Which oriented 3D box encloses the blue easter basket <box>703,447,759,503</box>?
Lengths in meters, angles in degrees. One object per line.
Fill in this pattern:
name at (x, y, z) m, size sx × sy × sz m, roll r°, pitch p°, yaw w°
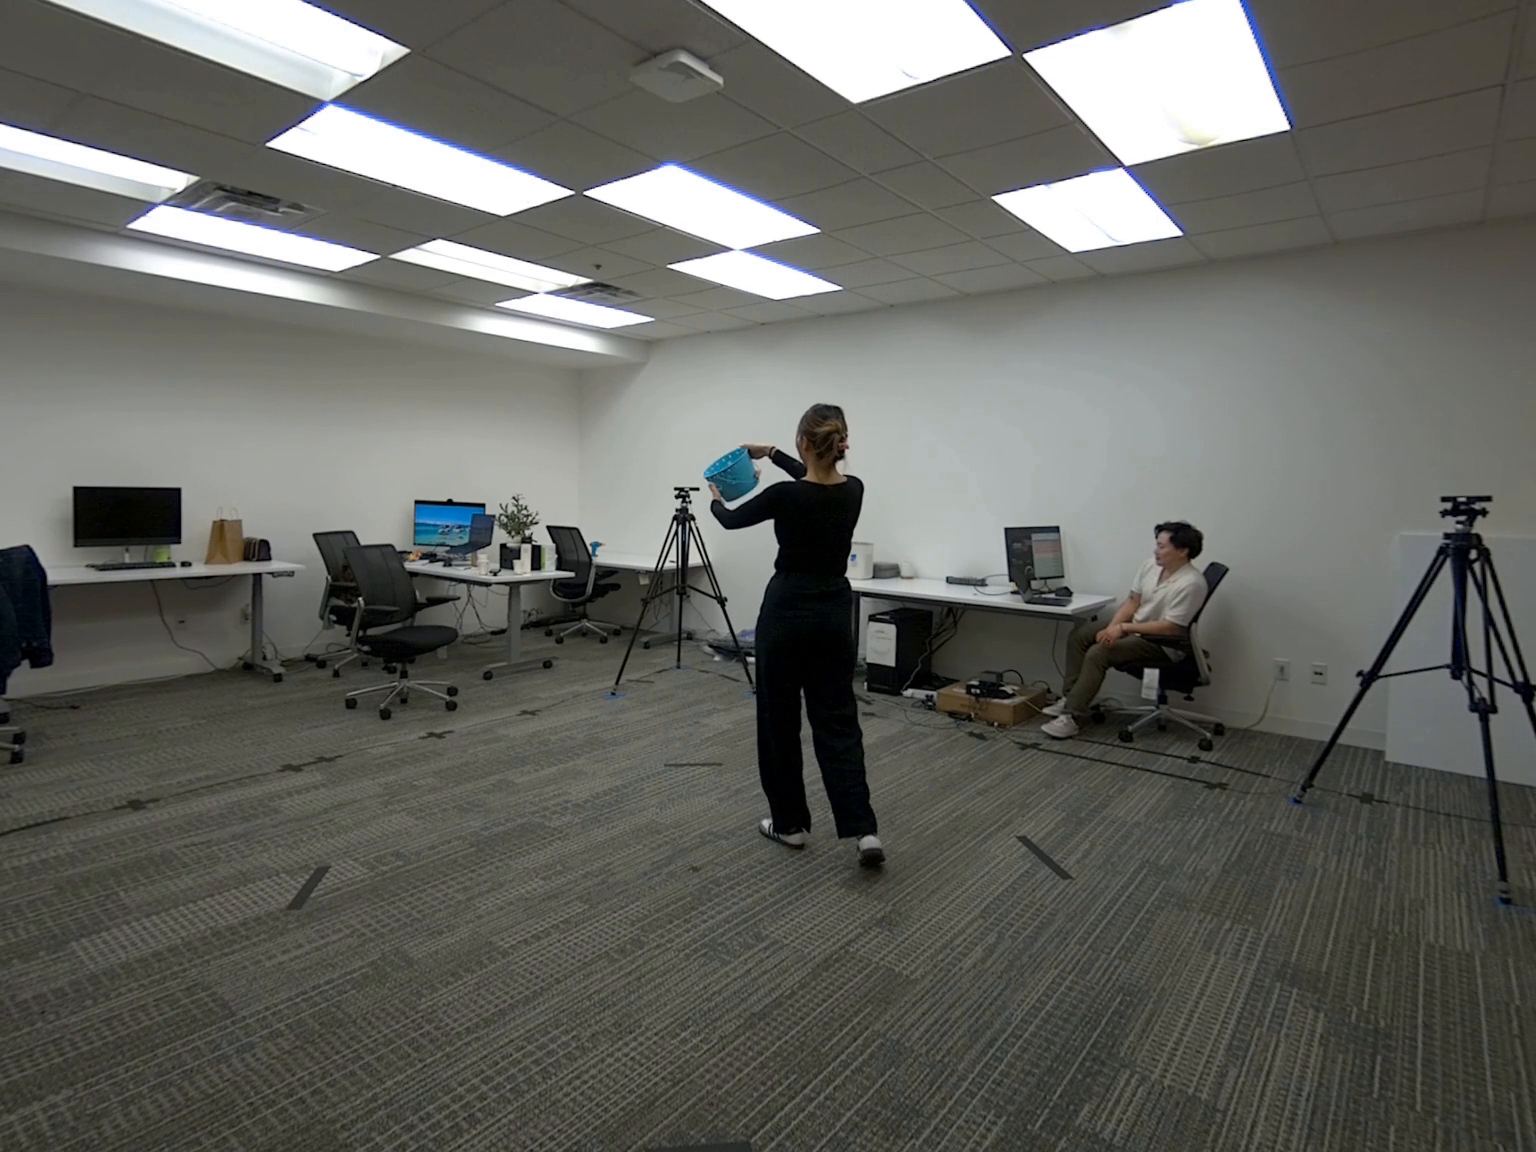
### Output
blue easter basket at (-0.154, -0.438, 3.728) m, size 0.244 × 0.152 × 0.248 m, roll -30°, pitch 19°, yaw 9°
